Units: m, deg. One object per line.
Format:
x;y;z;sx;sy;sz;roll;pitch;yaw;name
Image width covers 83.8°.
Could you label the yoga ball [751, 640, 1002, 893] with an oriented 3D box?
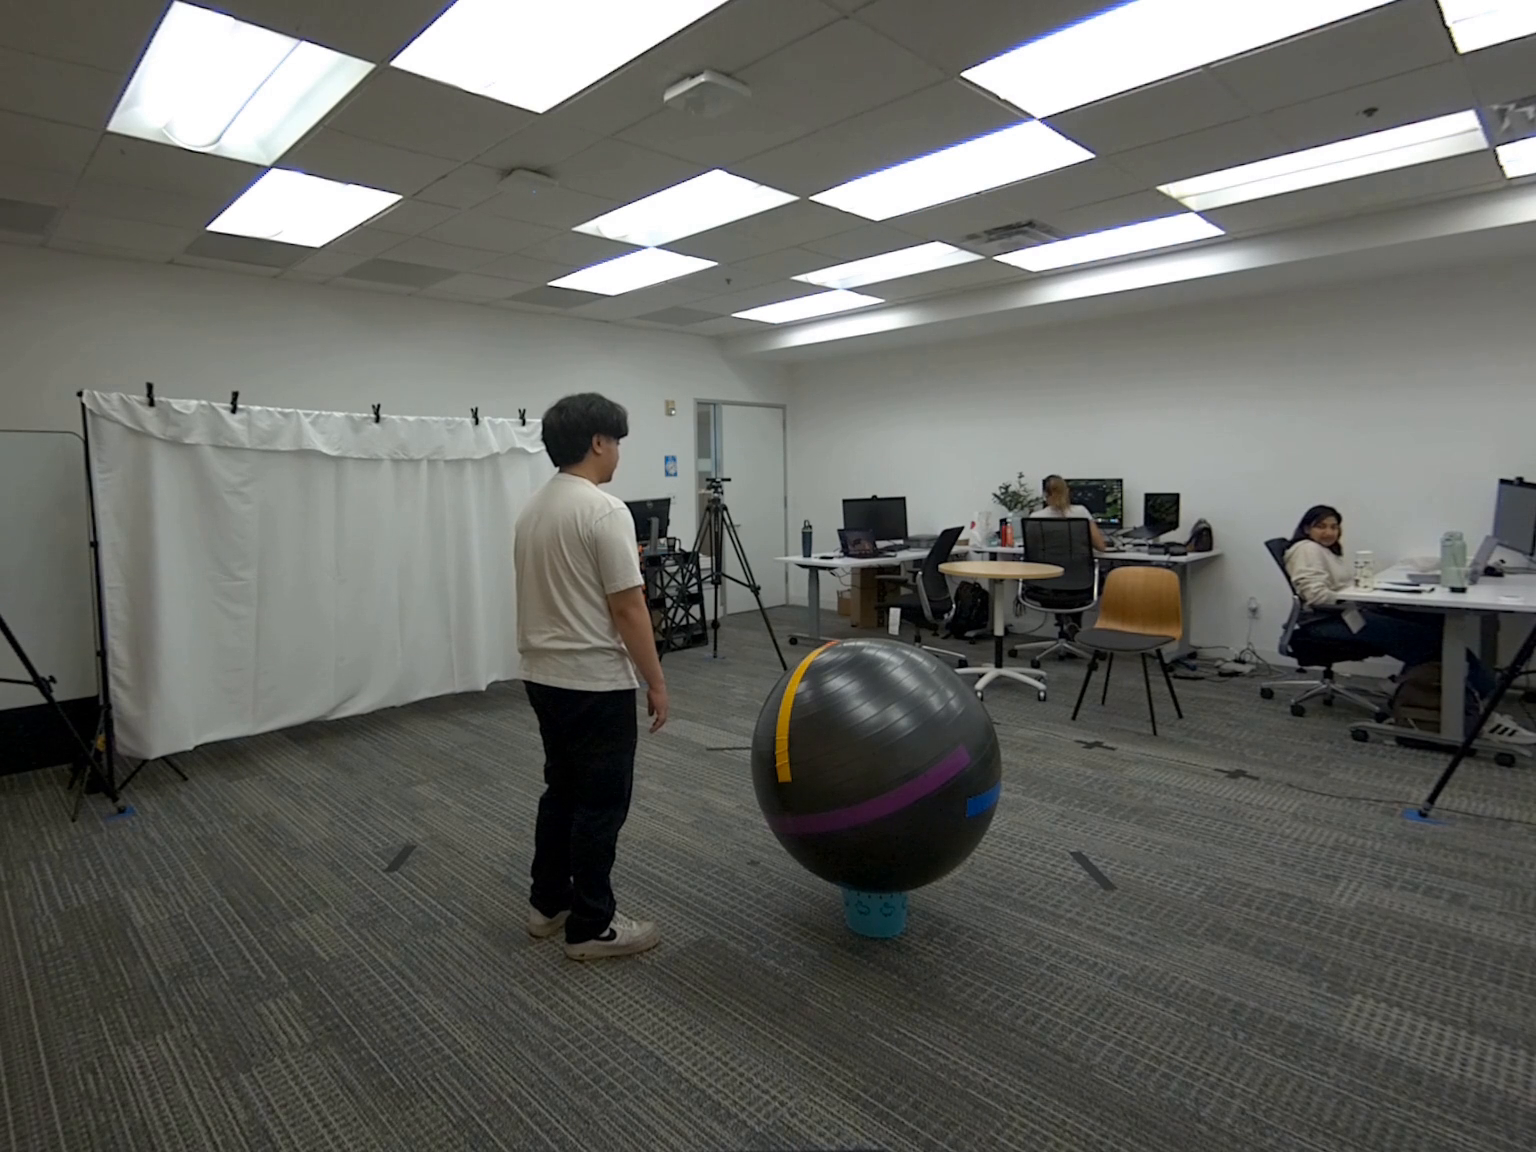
0.349;0.582;2.646;0.757;0.755;0.762;-1;5;-2;yoga ball
